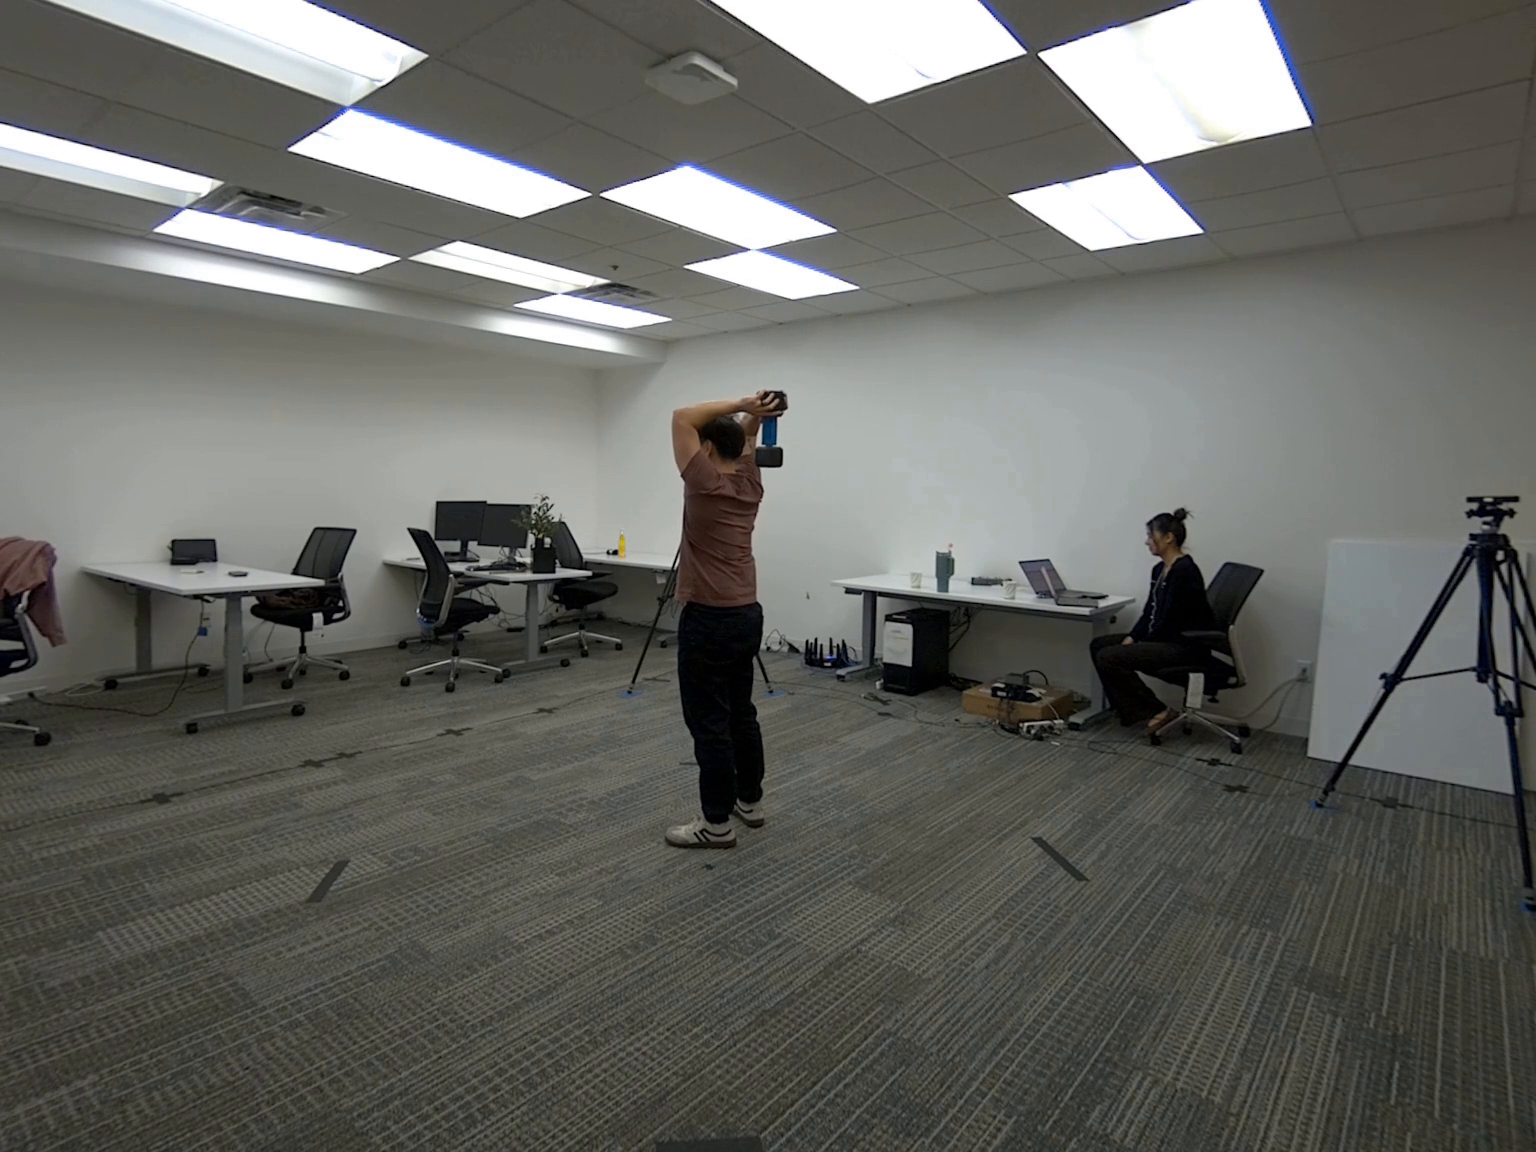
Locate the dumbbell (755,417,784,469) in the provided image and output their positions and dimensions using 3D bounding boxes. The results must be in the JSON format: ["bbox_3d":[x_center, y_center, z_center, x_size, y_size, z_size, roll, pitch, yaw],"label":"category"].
[{"bbox_3d":[-0.006,-0.569,3.289,0.127,0.293,0.105,1,2,37],"label":"dumbbell"}]
